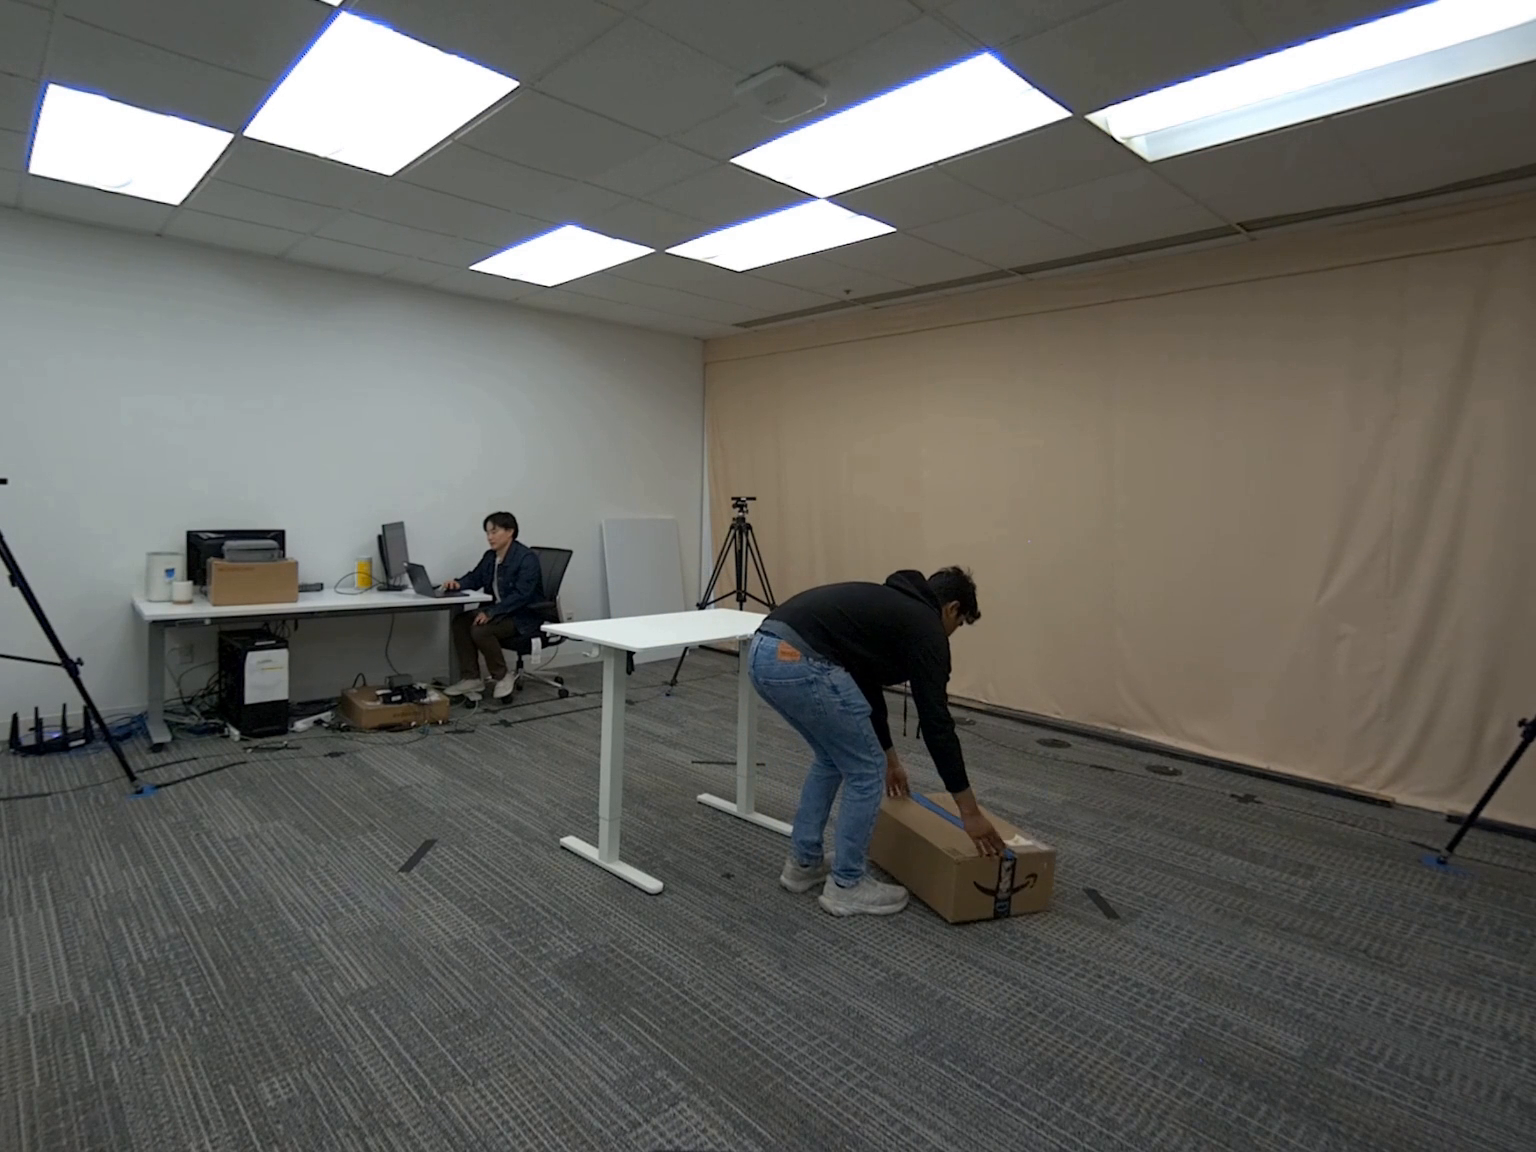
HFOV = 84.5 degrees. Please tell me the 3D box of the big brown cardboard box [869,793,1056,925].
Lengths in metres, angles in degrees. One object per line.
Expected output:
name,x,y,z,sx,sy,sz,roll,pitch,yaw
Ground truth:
big brown cardboard box,0.675,0.997,3.074,0.410,0.233,0.600,1,4,-24
